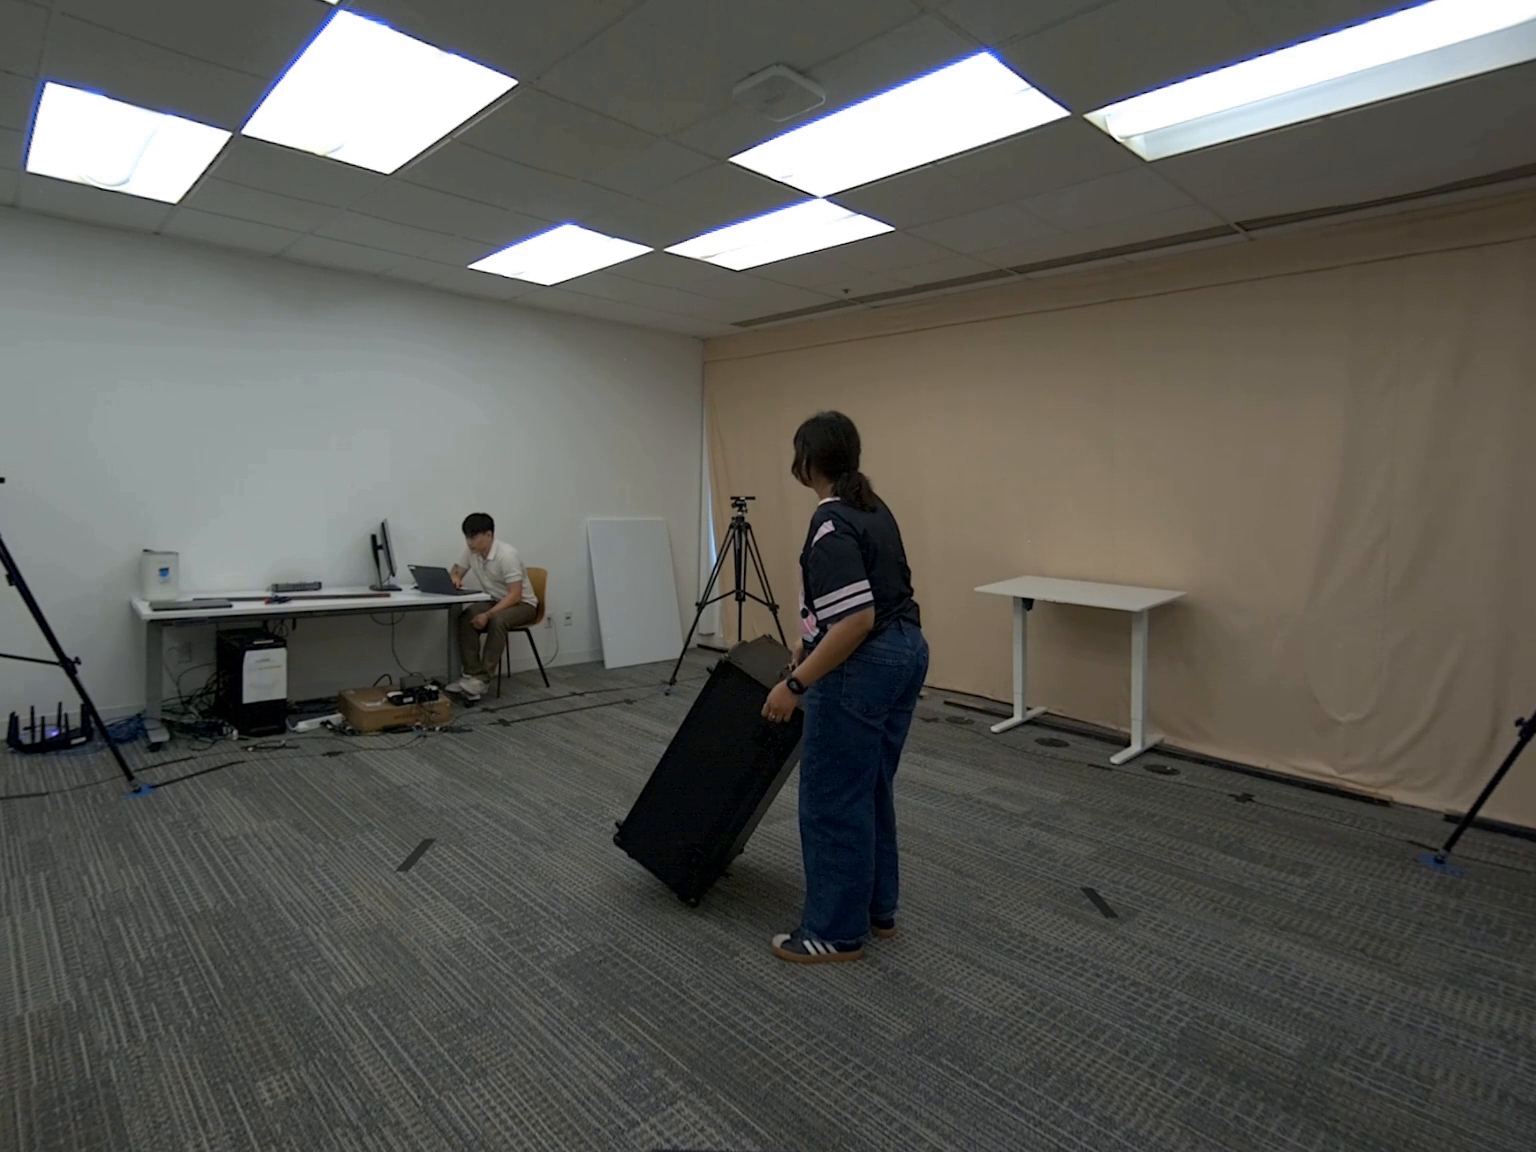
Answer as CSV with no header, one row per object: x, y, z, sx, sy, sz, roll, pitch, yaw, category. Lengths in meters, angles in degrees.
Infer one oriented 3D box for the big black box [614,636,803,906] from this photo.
-0.164,0.683,2.977,0.403,0.859,0.515,32,12,14,big black box
